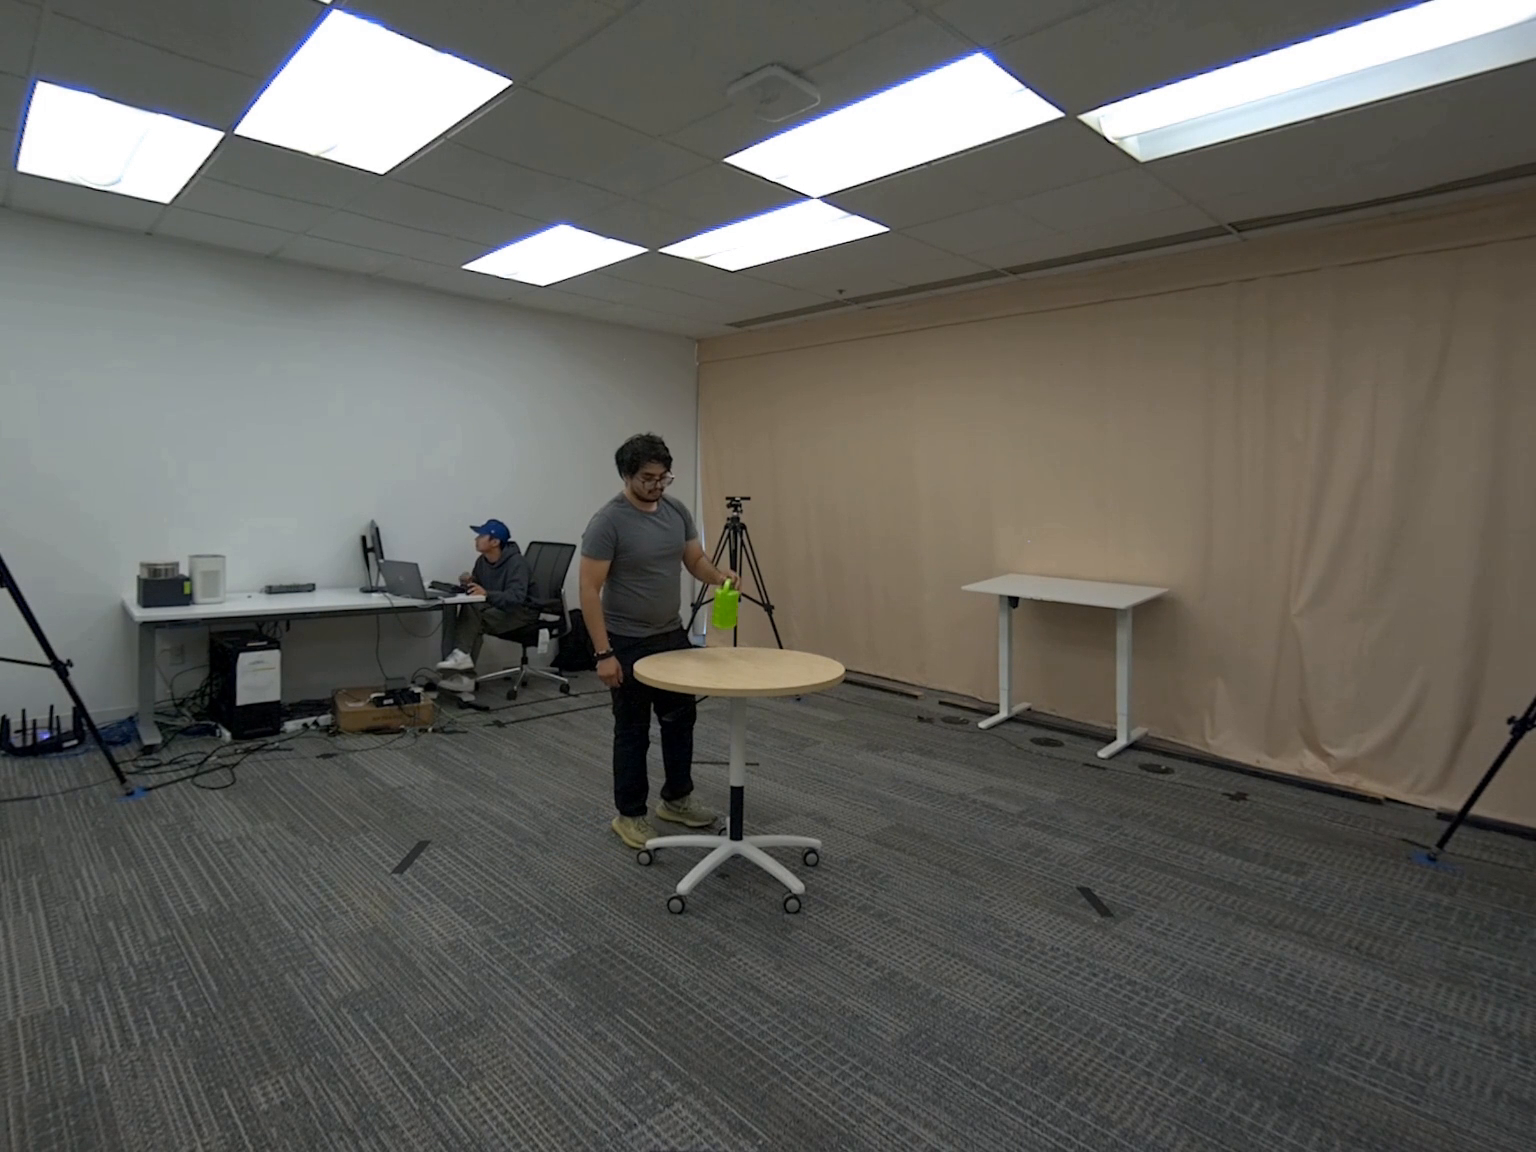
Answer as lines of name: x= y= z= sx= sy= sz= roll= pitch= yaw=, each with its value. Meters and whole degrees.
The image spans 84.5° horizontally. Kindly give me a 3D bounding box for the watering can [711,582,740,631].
watering can: x=-0.193 y=0.109 z=3.145 sx=0.100 sy=0.176 sz=0.274 roll=13 pitch=12 yaw=25
